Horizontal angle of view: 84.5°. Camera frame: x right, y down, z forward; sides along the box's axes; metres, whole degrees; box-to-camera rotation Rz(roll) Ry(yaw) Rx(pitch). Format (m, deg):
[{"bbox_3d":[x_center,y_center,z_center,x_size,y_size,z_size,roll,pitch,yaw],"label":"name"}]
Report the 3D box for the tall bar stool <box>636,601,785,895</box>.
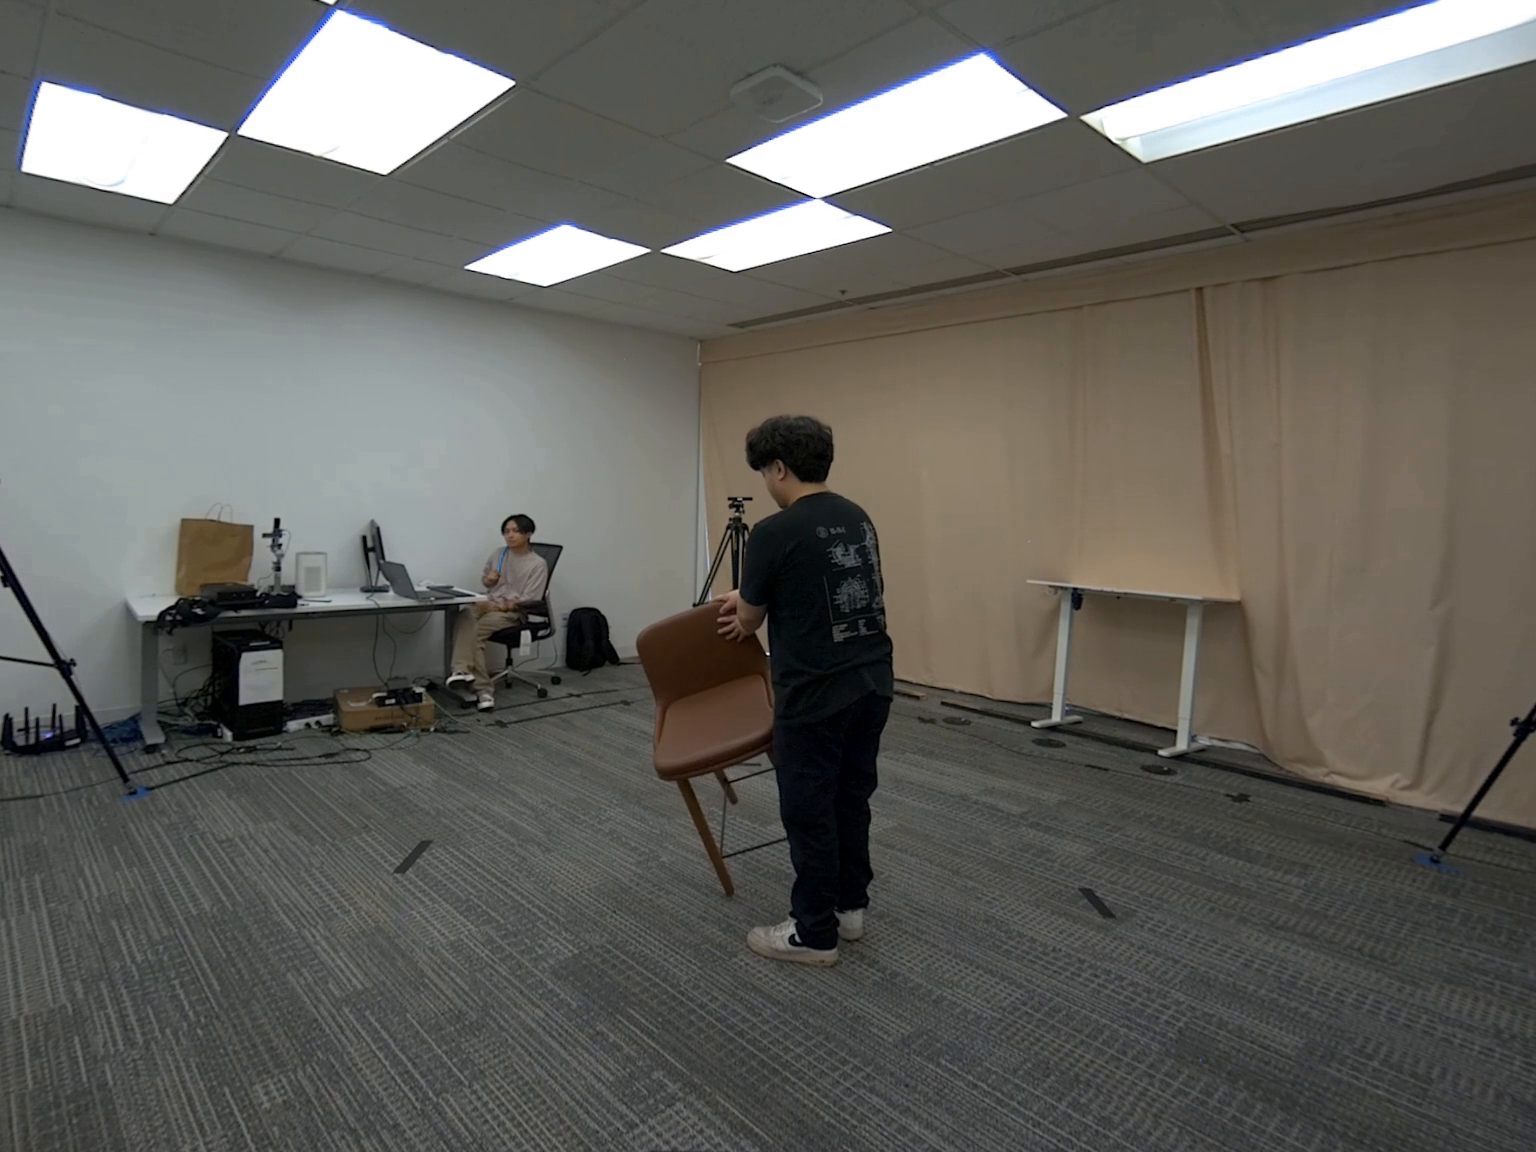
[{"bbox_3d":[-0.132,0.597,2.924,0.459,0.871,0.475,-19,24,9],"label":"tall bar stool"}]
